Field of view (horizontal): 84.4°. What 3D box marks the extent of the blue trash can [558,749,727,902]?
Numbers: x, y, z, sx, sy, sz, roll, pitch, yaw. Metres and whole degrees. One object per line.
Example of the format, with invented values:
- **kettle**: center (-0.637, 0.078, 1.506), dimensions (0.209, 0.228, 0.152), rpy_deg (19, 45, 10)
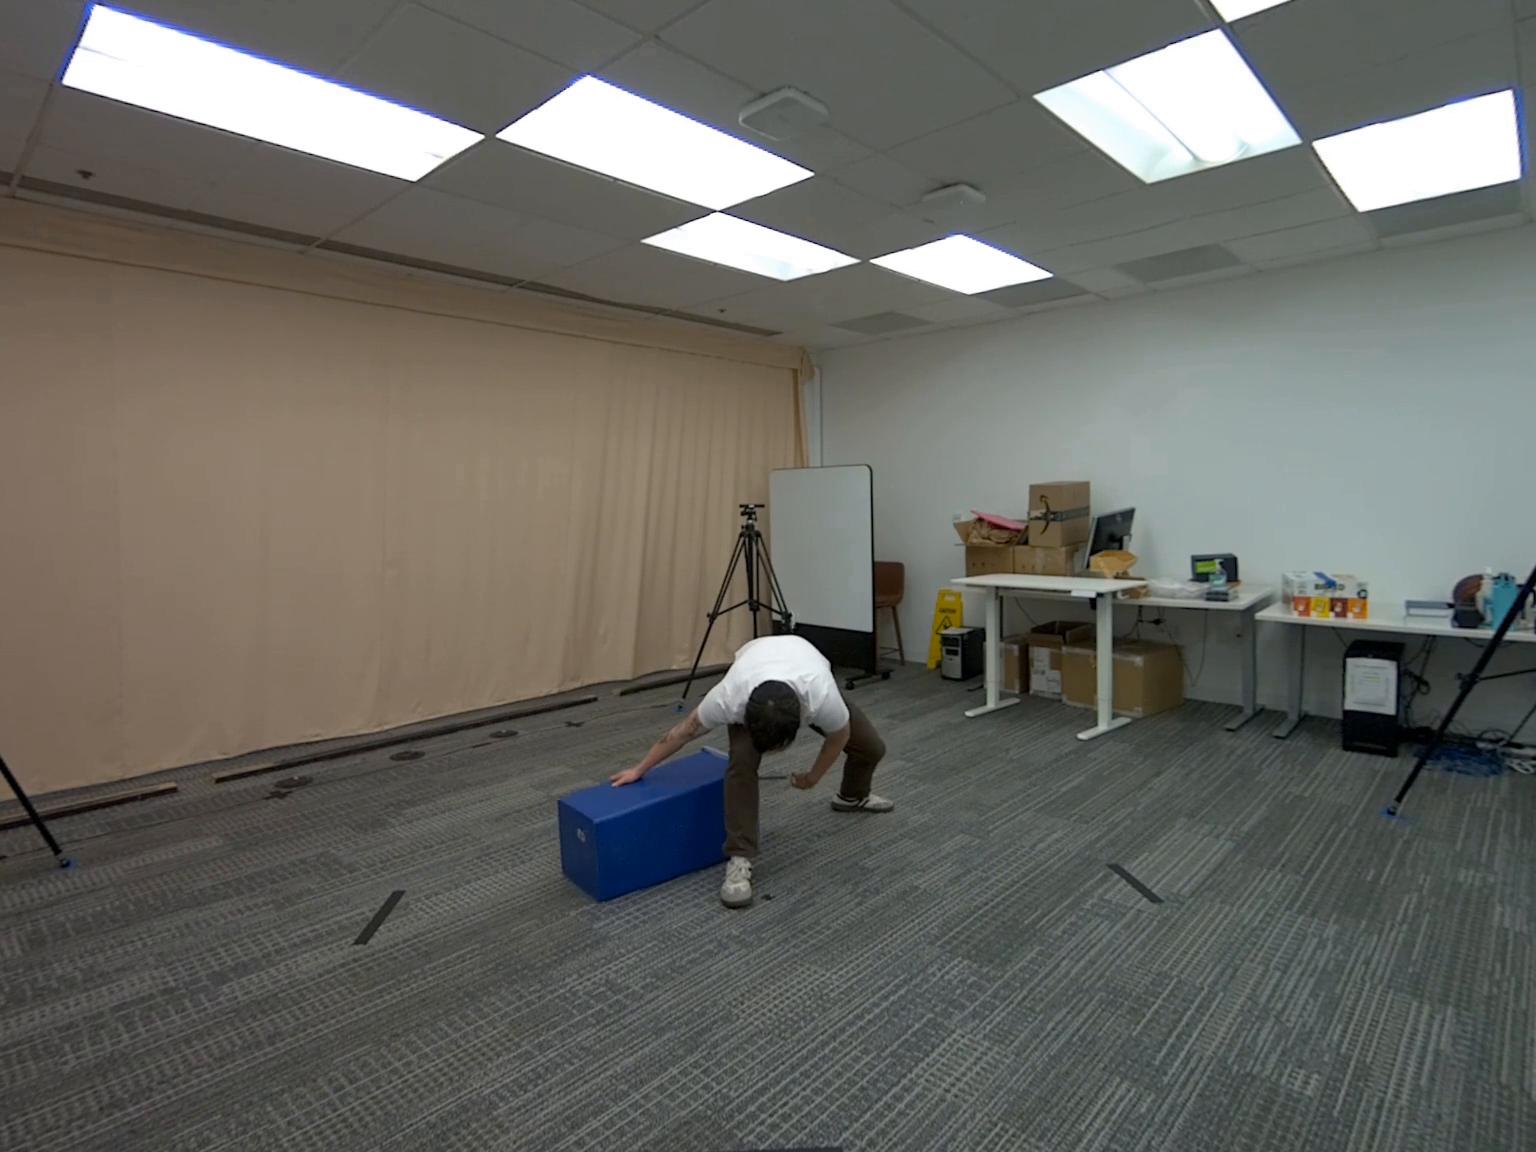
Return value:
- **blue trash can**: center (-0.421, 0.954, 3.278), dimensions (0.693, 0.376, 0.386), rpy_deg (-7, 8, -37)
